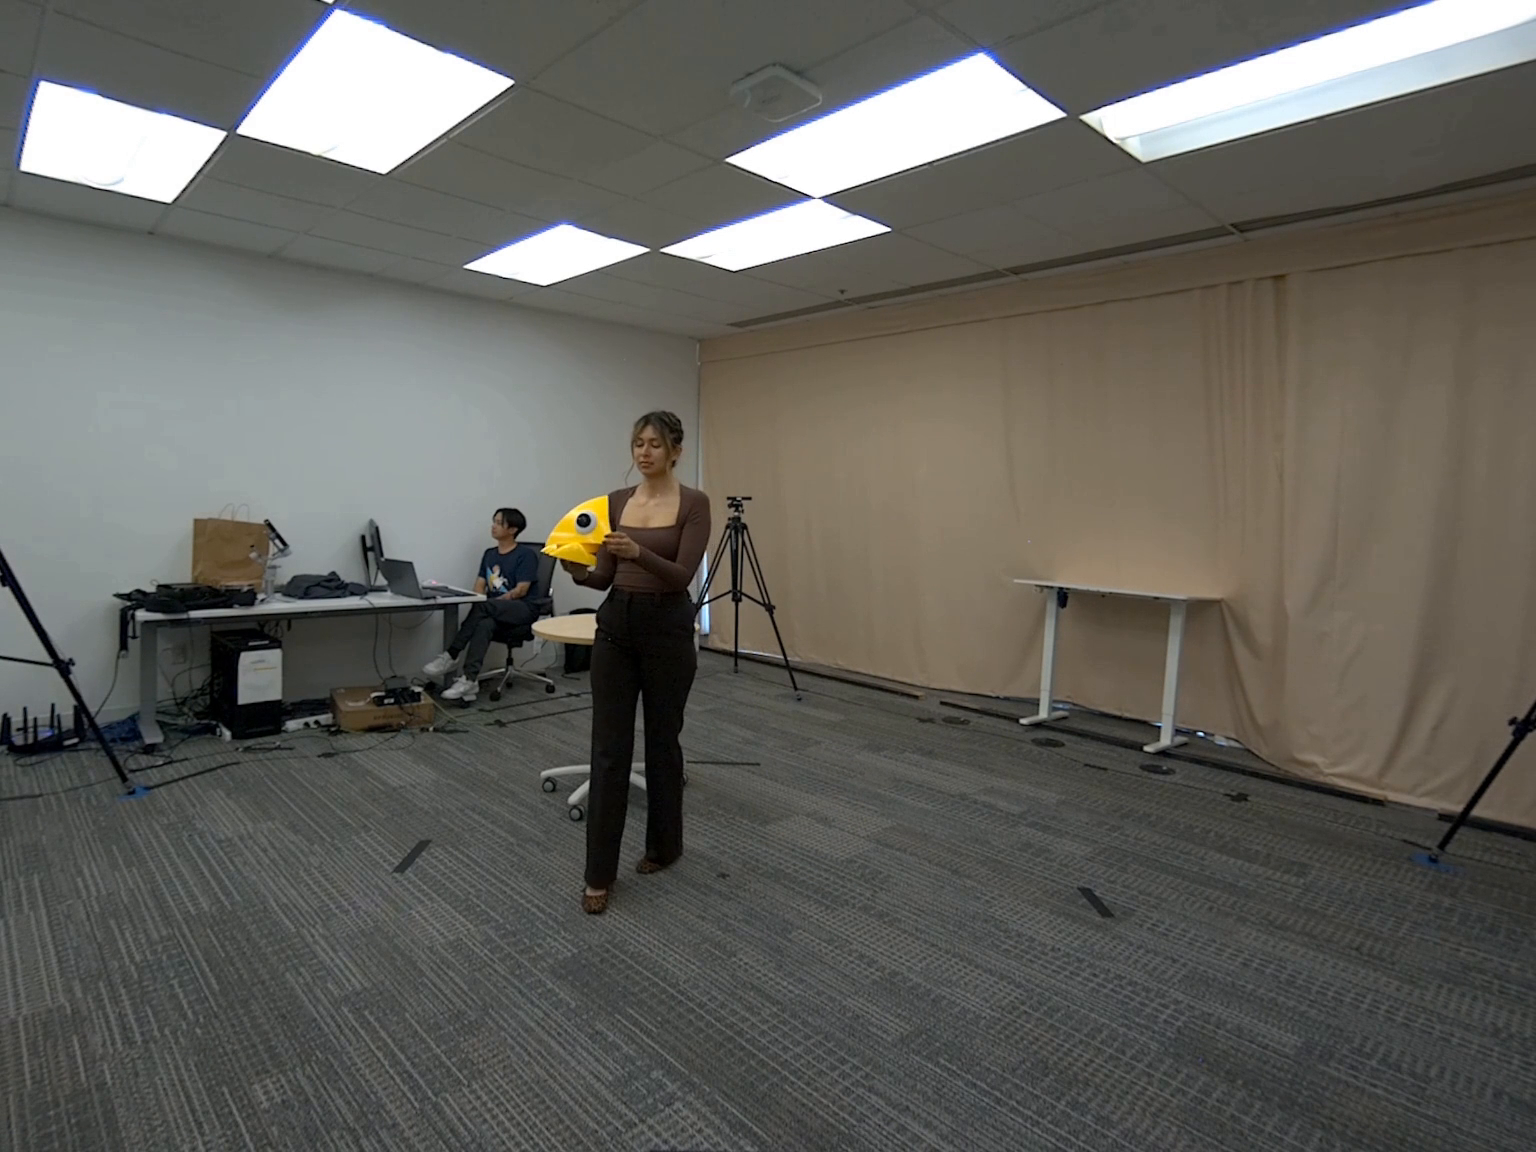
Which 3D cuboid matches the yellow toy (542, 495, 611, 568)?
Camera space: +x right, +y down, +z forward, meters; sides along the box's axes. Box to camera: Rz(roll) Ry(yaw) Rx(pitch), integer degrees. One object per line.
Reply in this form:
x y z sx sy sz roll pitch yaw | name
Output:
-0.613 -0.165 2.708 0.189 0.231 0.209 14 -1 -25 | yellow toy
